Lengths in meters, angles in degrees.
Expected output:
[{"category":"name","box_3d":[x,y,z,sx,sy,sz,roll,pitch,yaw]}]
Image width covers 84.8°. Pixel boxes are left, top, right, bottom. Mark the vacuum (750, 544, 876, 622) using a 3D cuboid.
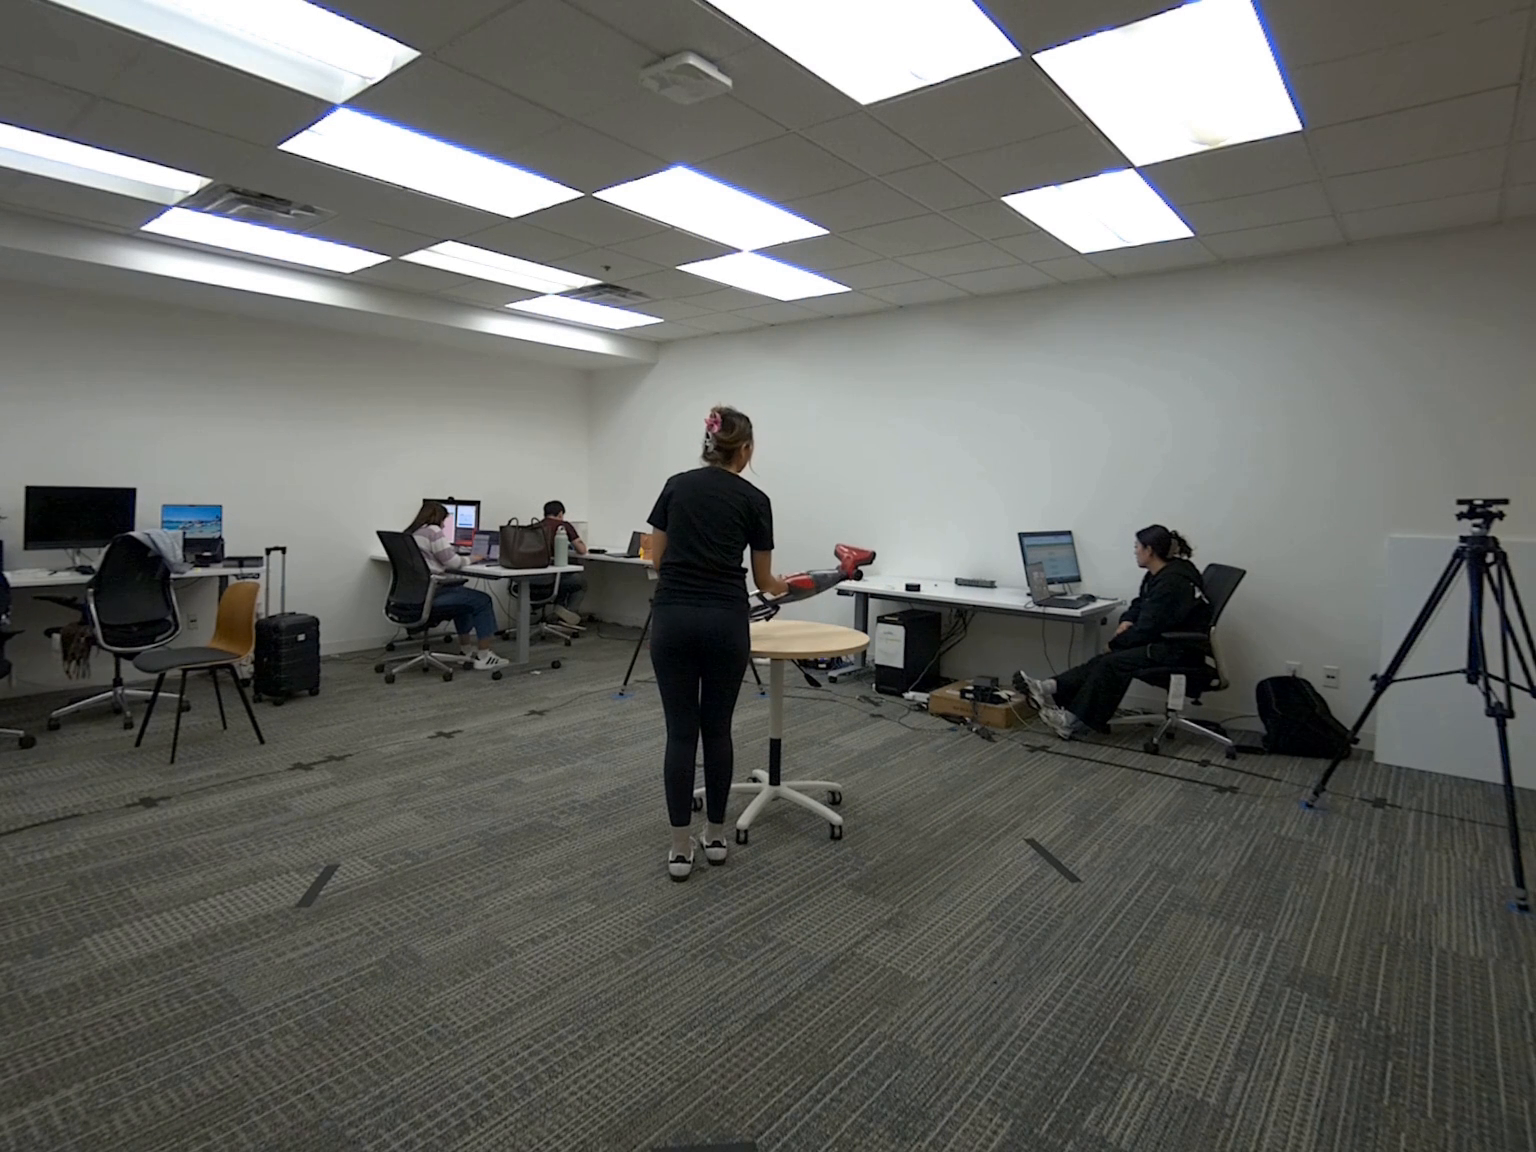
[{"category":"vacuum","box_3d":[-0.028,0.110,3.557,1.033,0.141,0.262,-23,22,-29]}]
